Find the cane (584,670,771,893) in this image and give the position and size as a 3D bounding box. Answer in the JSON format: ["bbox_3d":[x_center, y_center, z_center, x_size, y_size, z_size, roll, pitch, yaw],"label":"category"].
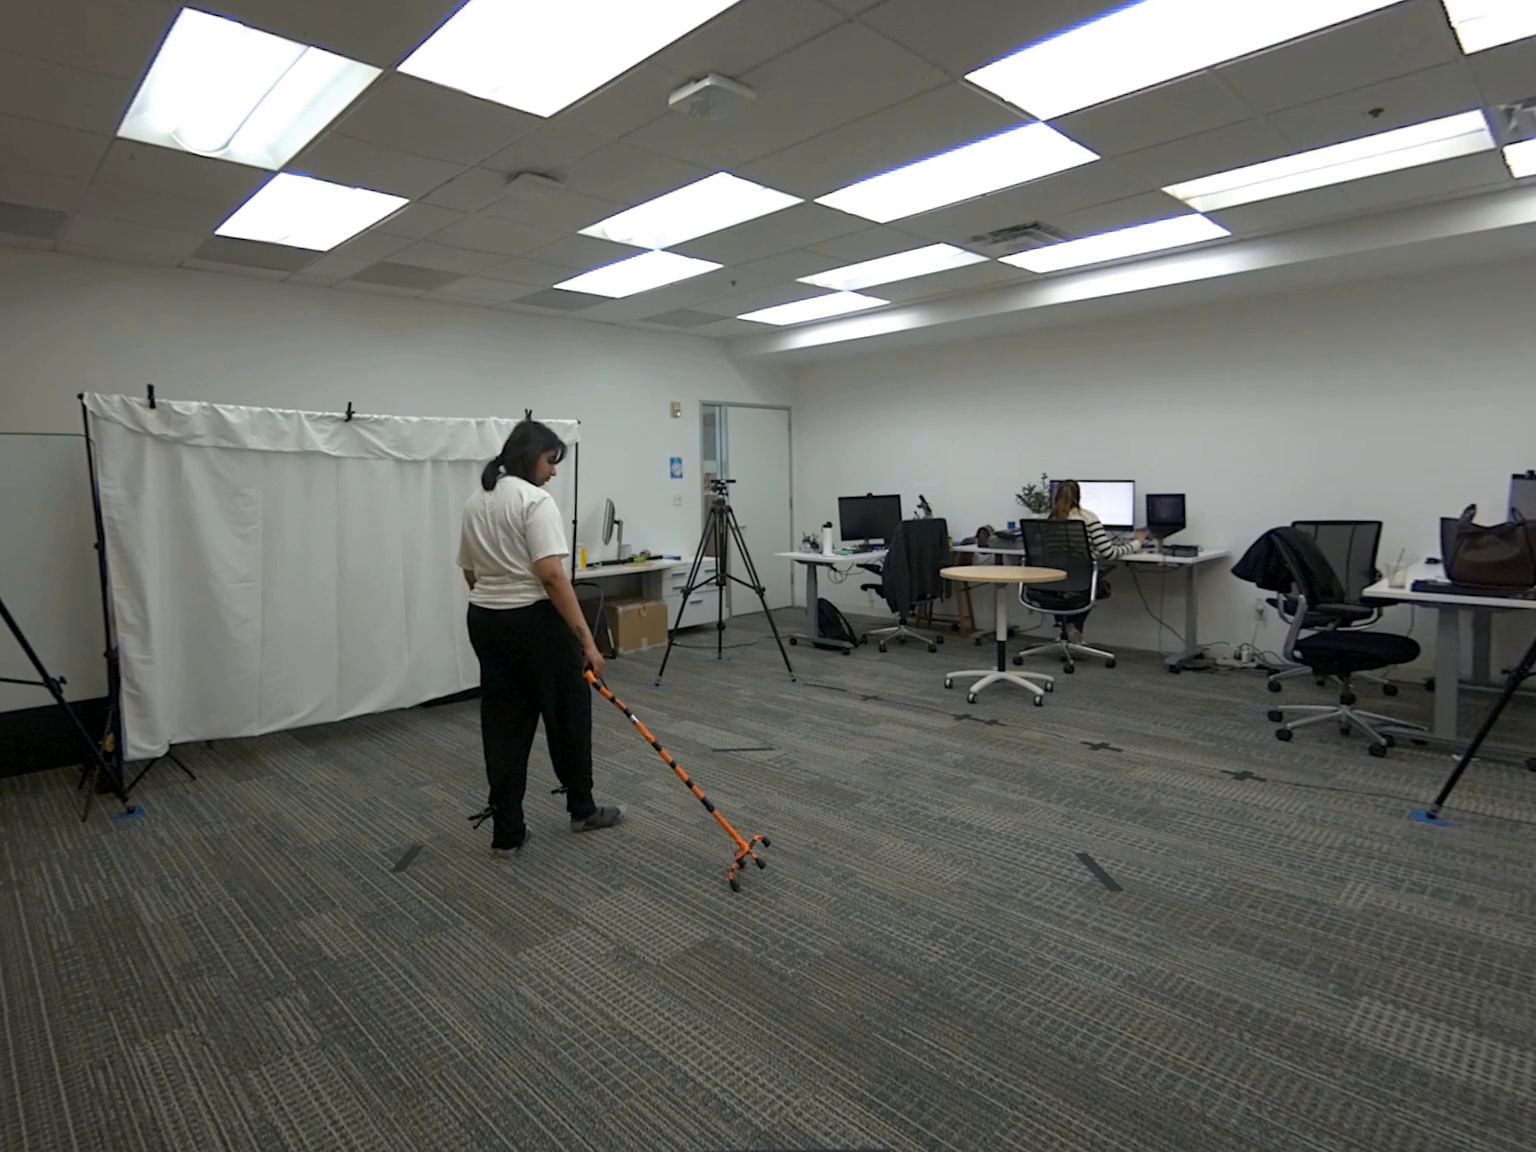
[{"bbox_3d":[-0.340,0.672,3.017,0.152,0.912,0.205,-41,-3,7],"label":"cane"}]
